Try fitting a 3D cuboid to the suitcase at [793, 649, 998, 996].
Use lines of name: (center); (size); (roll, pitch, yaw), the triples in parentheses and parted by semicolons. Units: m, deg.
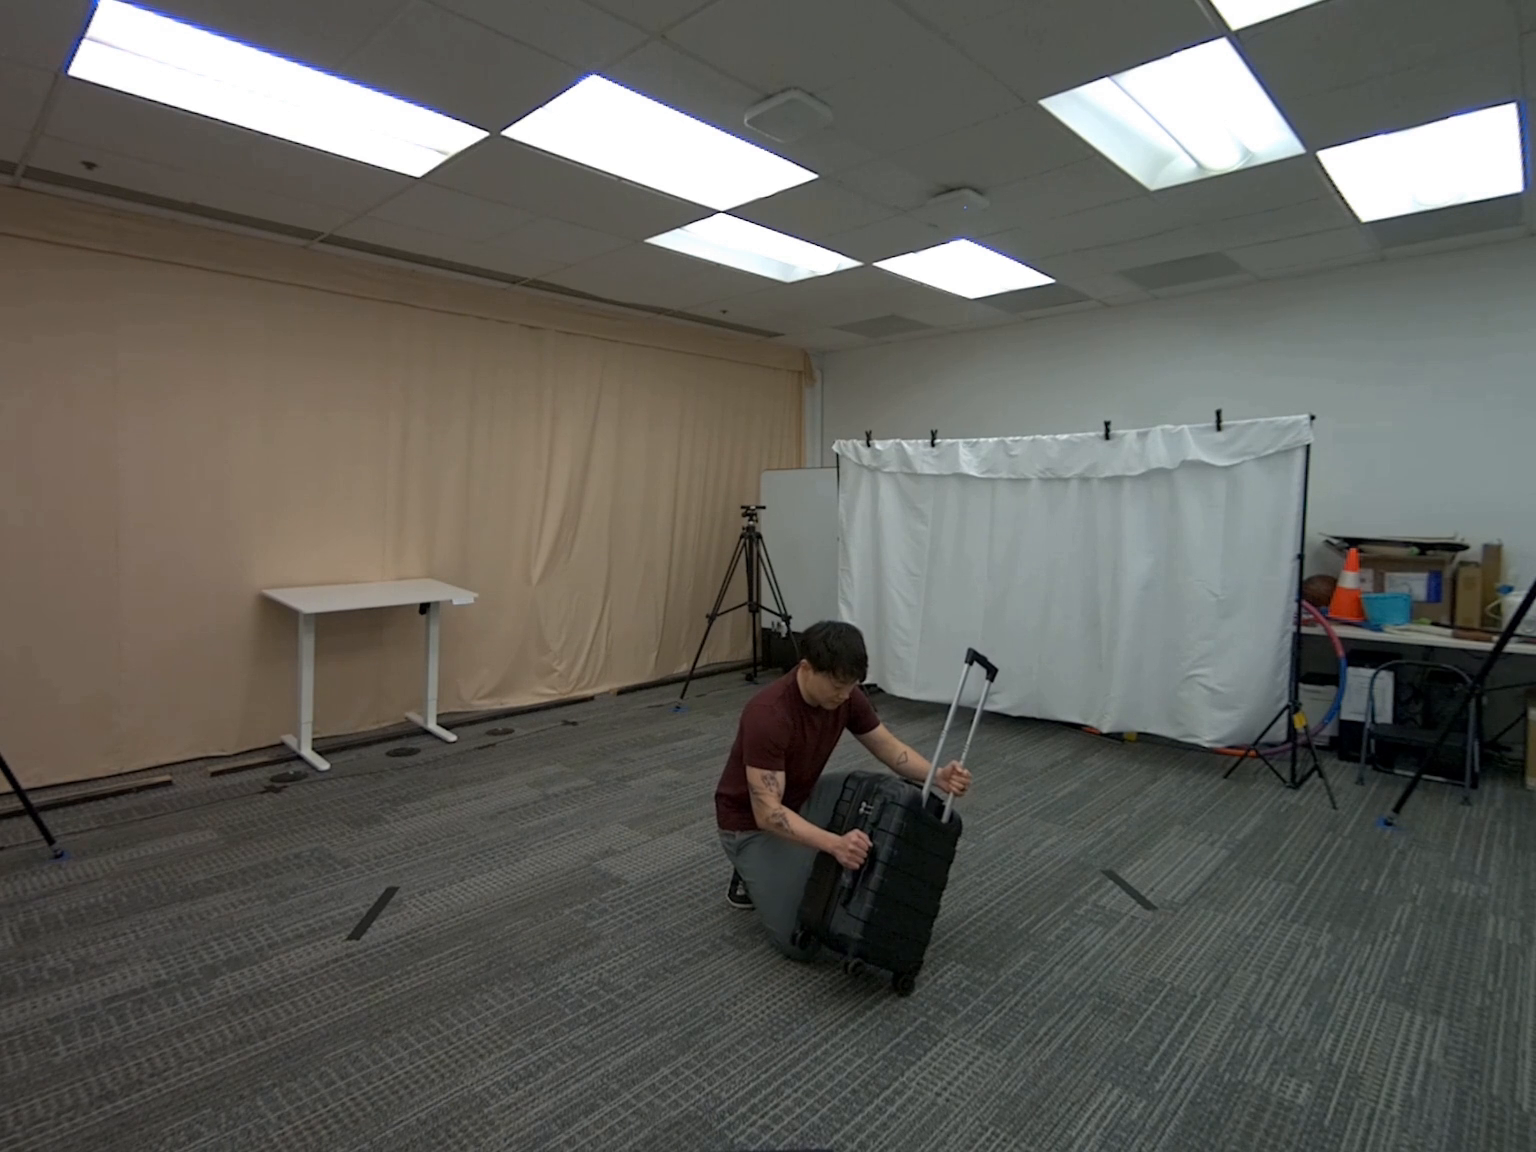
suitcase: (0.418, 0.692, 2.526); (0.371, 0.981, 0.265); (33, -20, -32)
